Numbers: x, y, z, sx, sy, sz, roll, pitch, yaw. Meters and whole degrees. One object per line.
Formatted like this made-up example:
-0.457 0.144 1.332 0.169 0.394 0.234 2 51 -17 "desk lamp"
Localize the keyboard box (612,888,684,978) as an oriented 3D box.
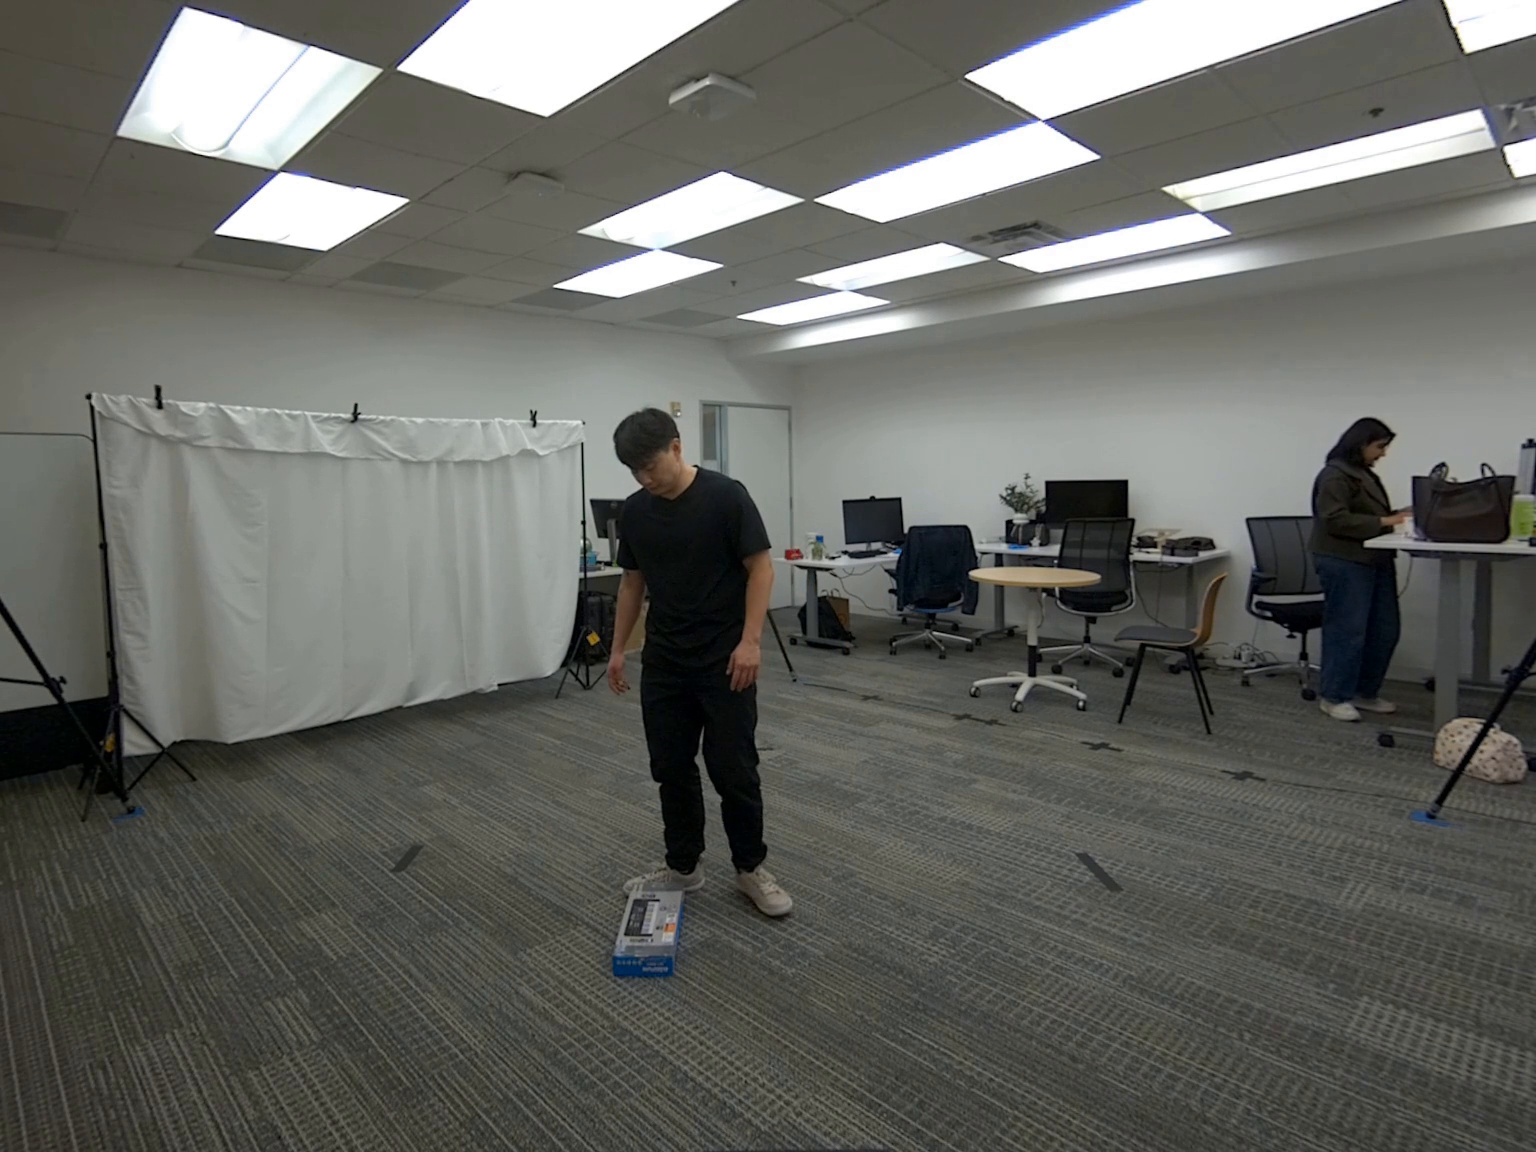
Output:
-0.356 1.082 2.631 0.176 0.059 0.438 0 6 -1 "keyboard box"
